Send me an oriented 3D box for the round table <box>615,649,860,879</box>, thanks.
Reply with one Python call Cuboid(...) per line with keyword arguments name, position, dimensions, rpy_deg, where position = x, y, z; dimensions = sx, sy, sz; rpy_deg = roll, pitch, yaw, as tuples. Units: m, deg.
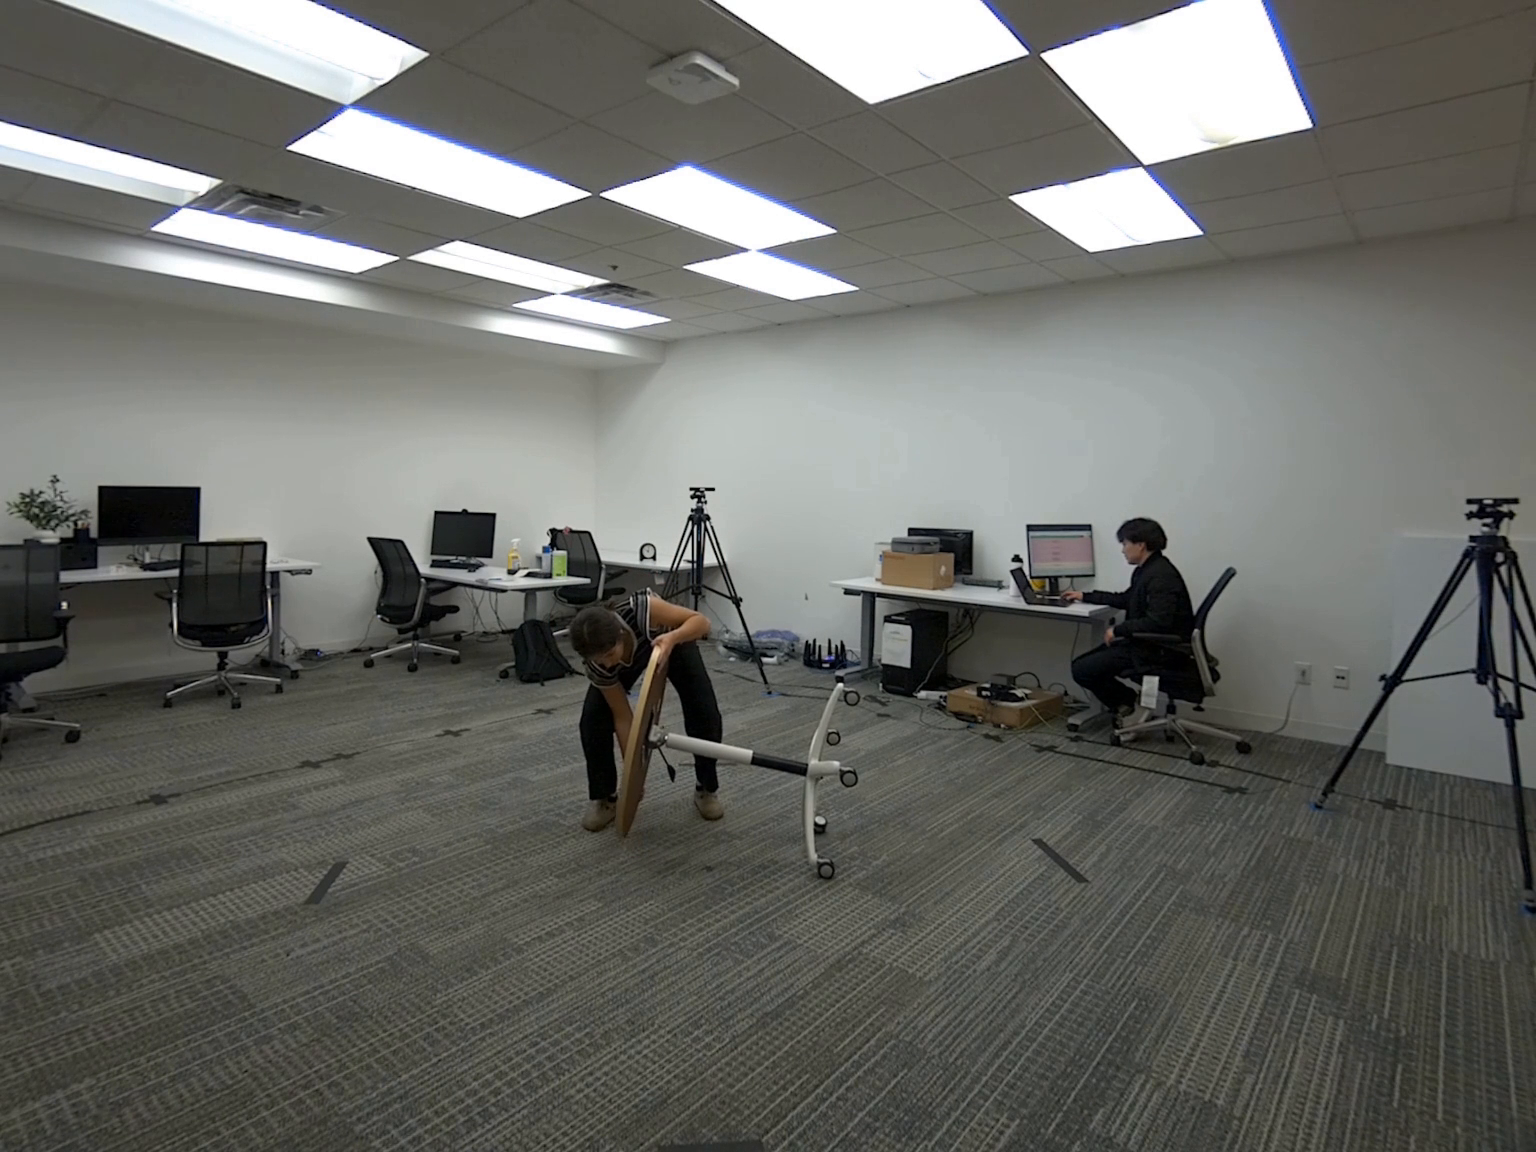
Cuboid(name="round table", position=(-0.107, 0.687, 3.287), dimensions=(0.789, 0.783, 0.785), rpy_deg=(11, 4, 1))
